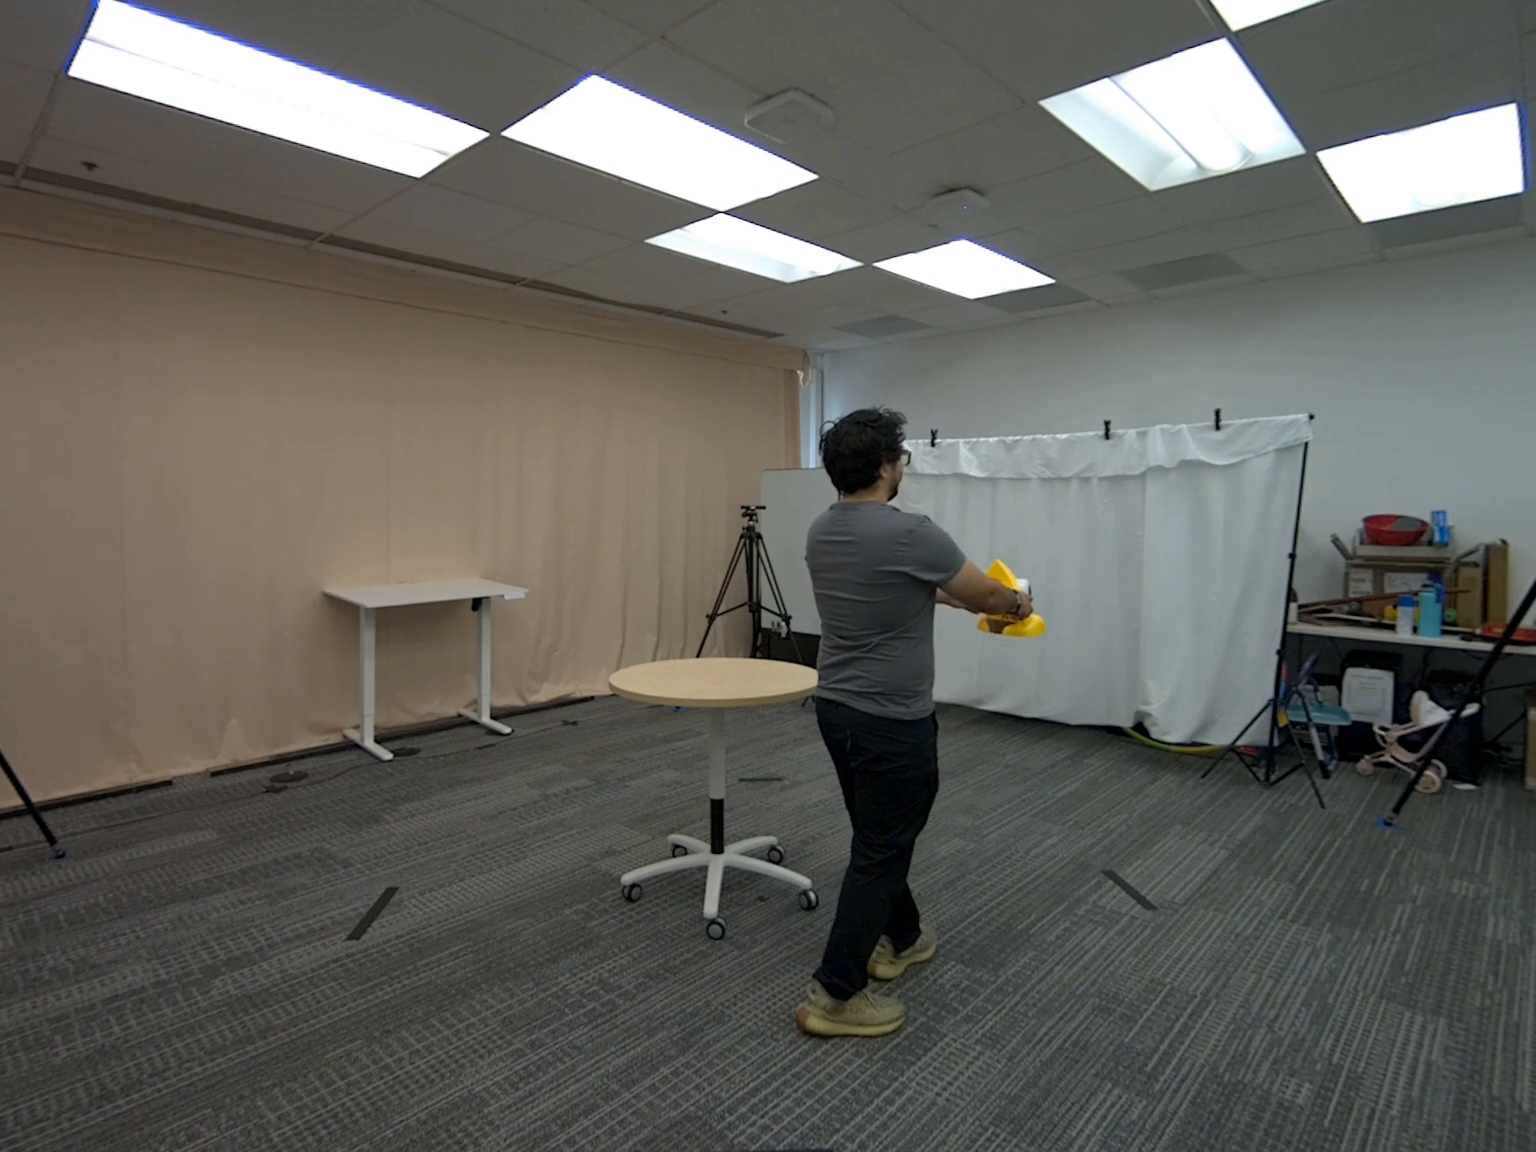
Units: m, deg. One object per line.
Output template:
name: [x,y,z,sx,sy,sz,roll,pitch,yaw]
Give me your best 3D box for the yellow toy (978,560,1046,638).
yellow toy: [0.764,0.055,2.630,0.188,0.230,0.211,-8,8,-37]
